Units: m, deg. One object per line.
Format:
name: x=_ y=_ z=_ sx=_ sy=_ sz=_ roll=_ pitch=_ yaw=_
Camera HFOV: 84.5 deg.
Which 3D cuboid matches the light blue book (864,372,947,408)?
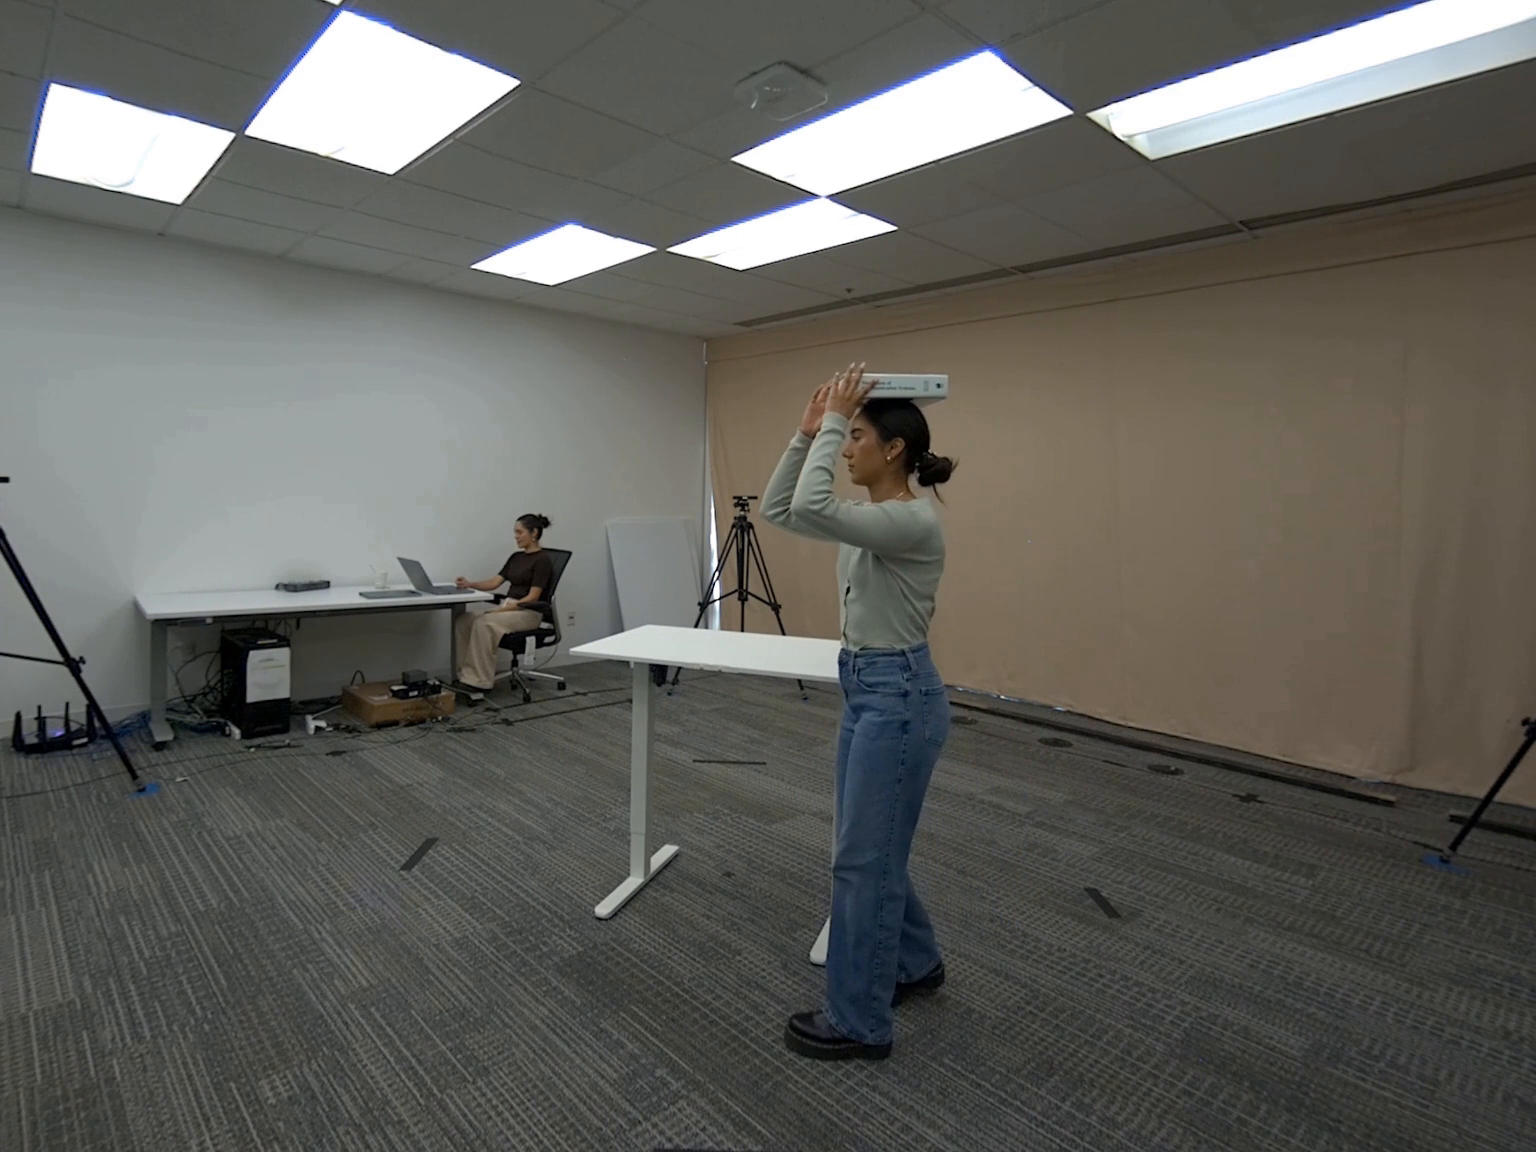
light blue book: x=0.293 y=-0.466 z=2.146 sx=0.260 sy=0.059 sz=0.192 roll=-3 pitch=4 yaw=-4
